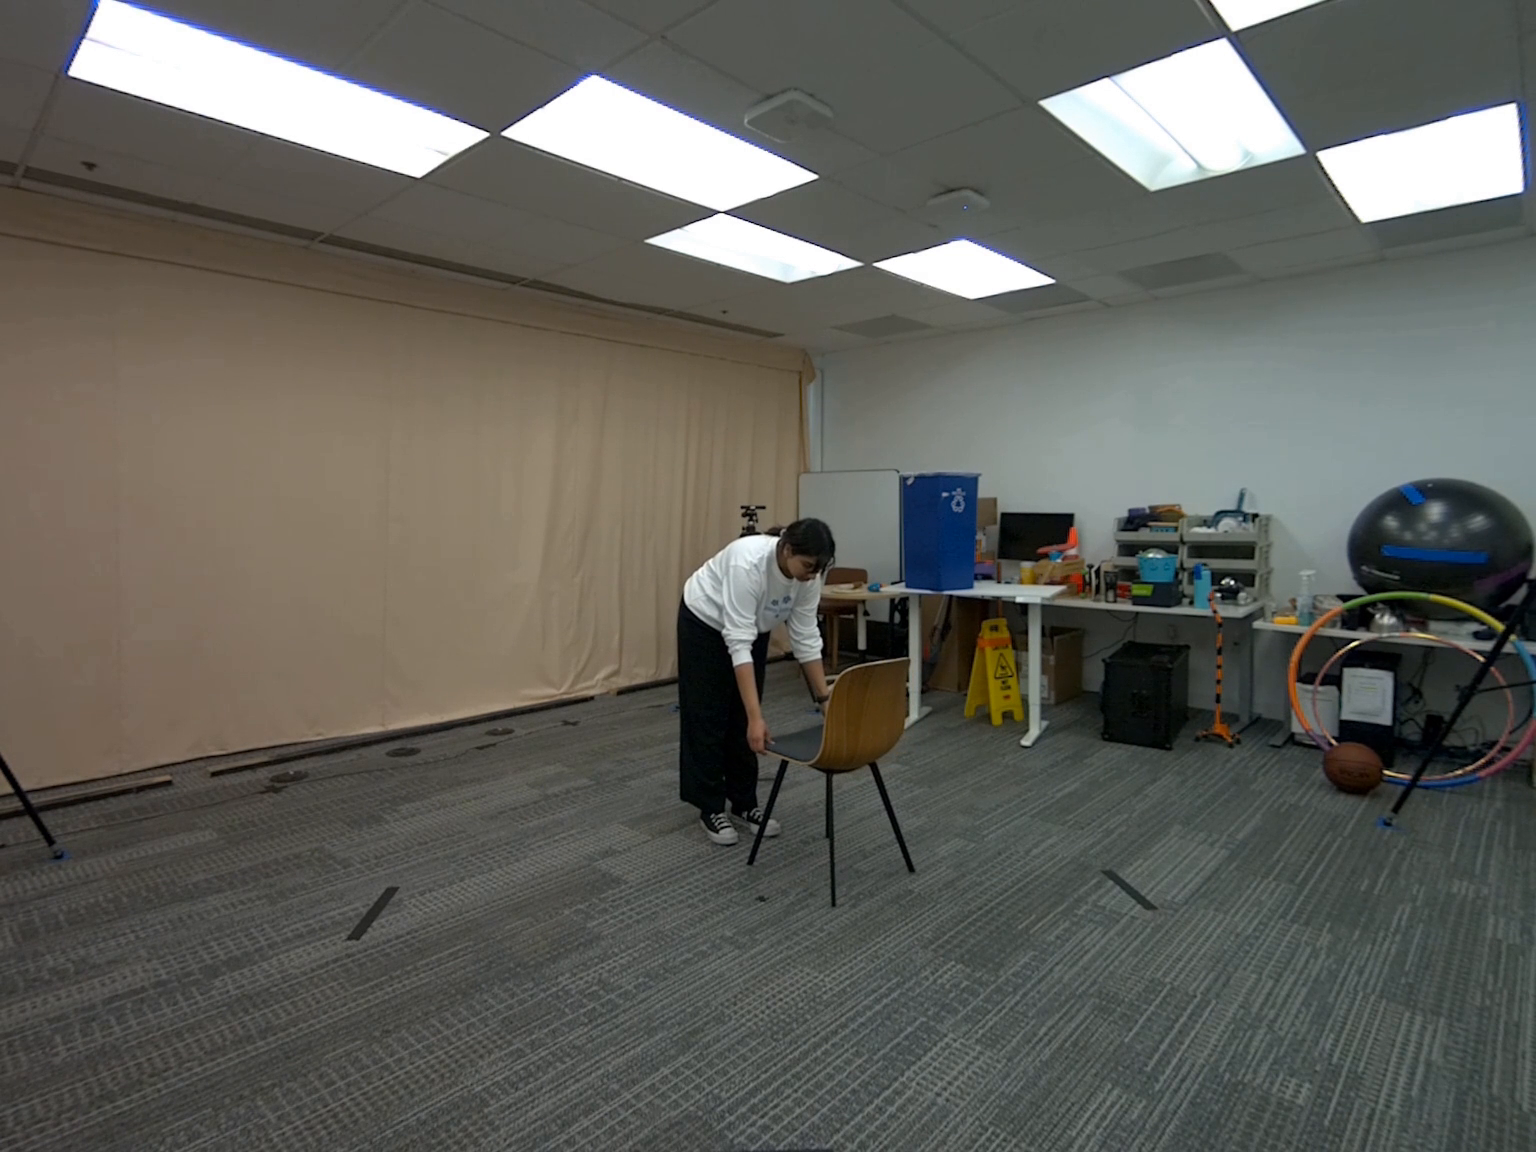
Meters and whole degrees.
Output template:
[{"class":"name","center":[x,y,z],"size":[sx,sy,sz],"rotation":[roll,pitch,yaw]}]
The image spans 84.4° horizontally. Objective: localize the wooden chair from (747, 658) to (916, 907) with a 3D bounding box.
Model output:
[{"class":"wooden chair","center":[0.242,0.693,3.199],"size":[0.463,0.874,0.541],"rotation":[-3,9,-41]}]
